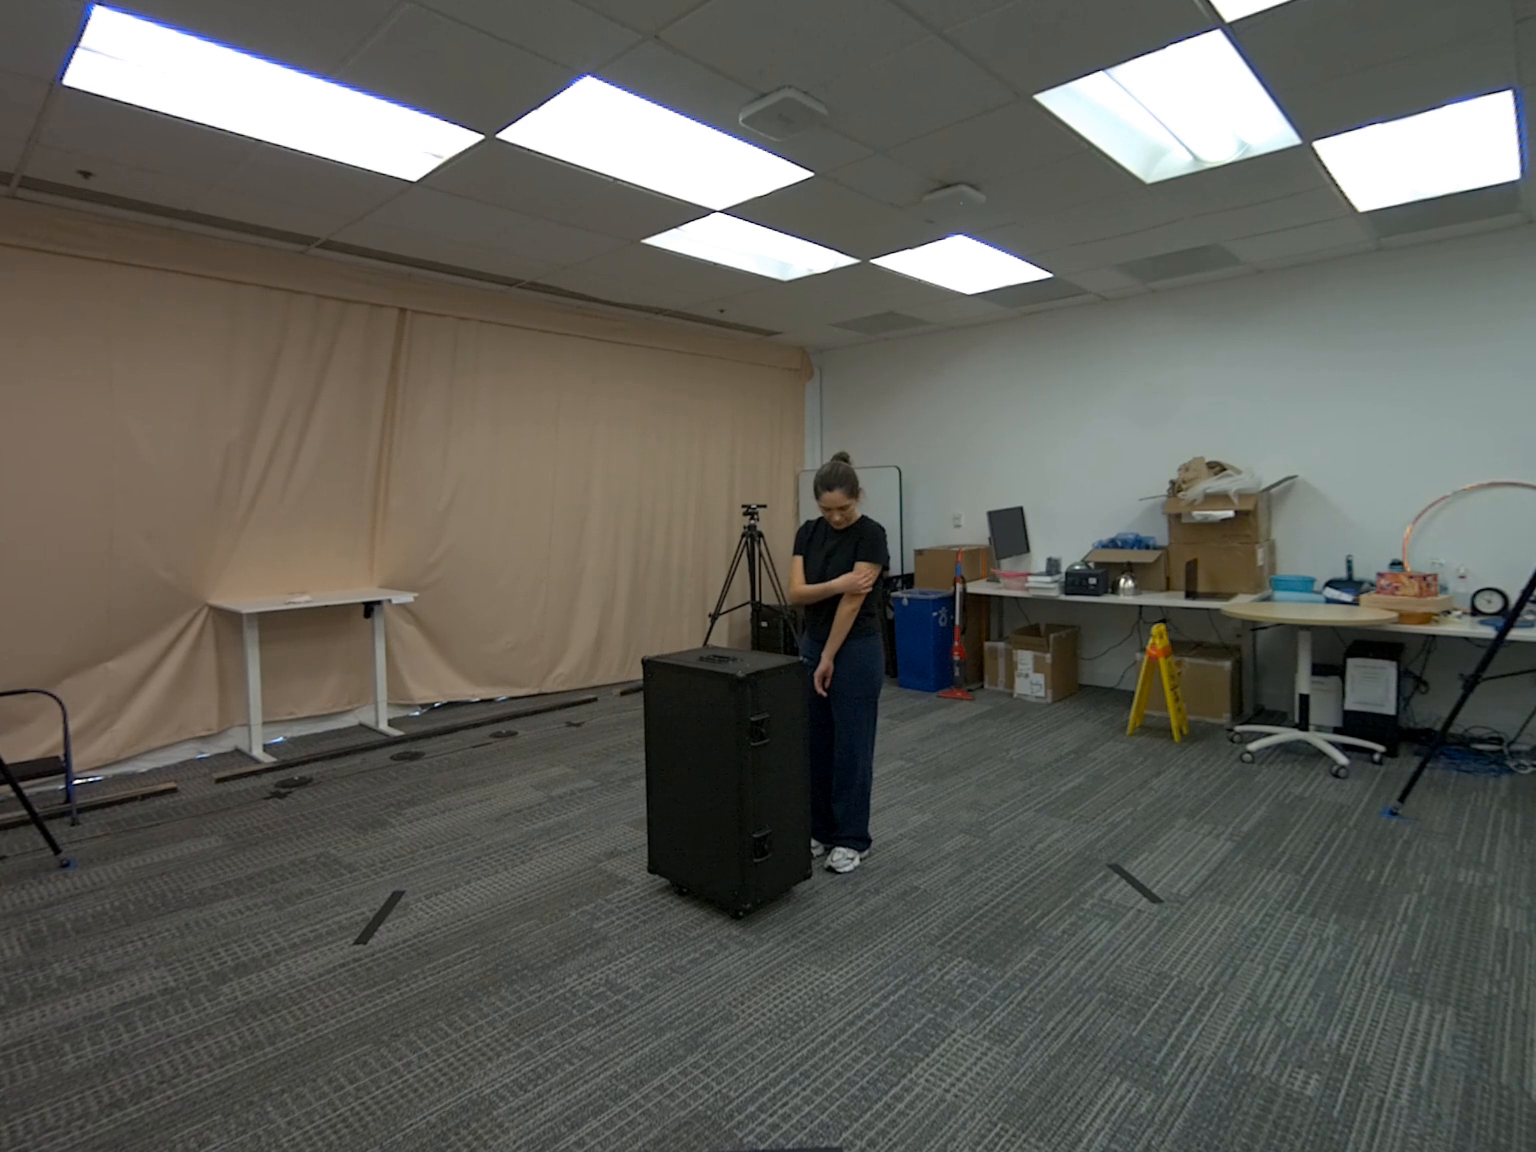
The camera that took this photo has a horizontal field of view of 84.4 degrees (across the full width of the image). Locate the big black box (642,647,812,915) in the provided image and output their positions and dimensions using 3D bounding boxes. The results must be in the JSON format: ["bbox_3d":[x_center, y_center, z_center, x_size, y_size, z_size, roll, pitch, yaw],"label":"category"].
[{"bbox_3d":[-0.127,0.659,2.998,0.538,0.859,0.384,2,5,42],"label":"big black box"}]
